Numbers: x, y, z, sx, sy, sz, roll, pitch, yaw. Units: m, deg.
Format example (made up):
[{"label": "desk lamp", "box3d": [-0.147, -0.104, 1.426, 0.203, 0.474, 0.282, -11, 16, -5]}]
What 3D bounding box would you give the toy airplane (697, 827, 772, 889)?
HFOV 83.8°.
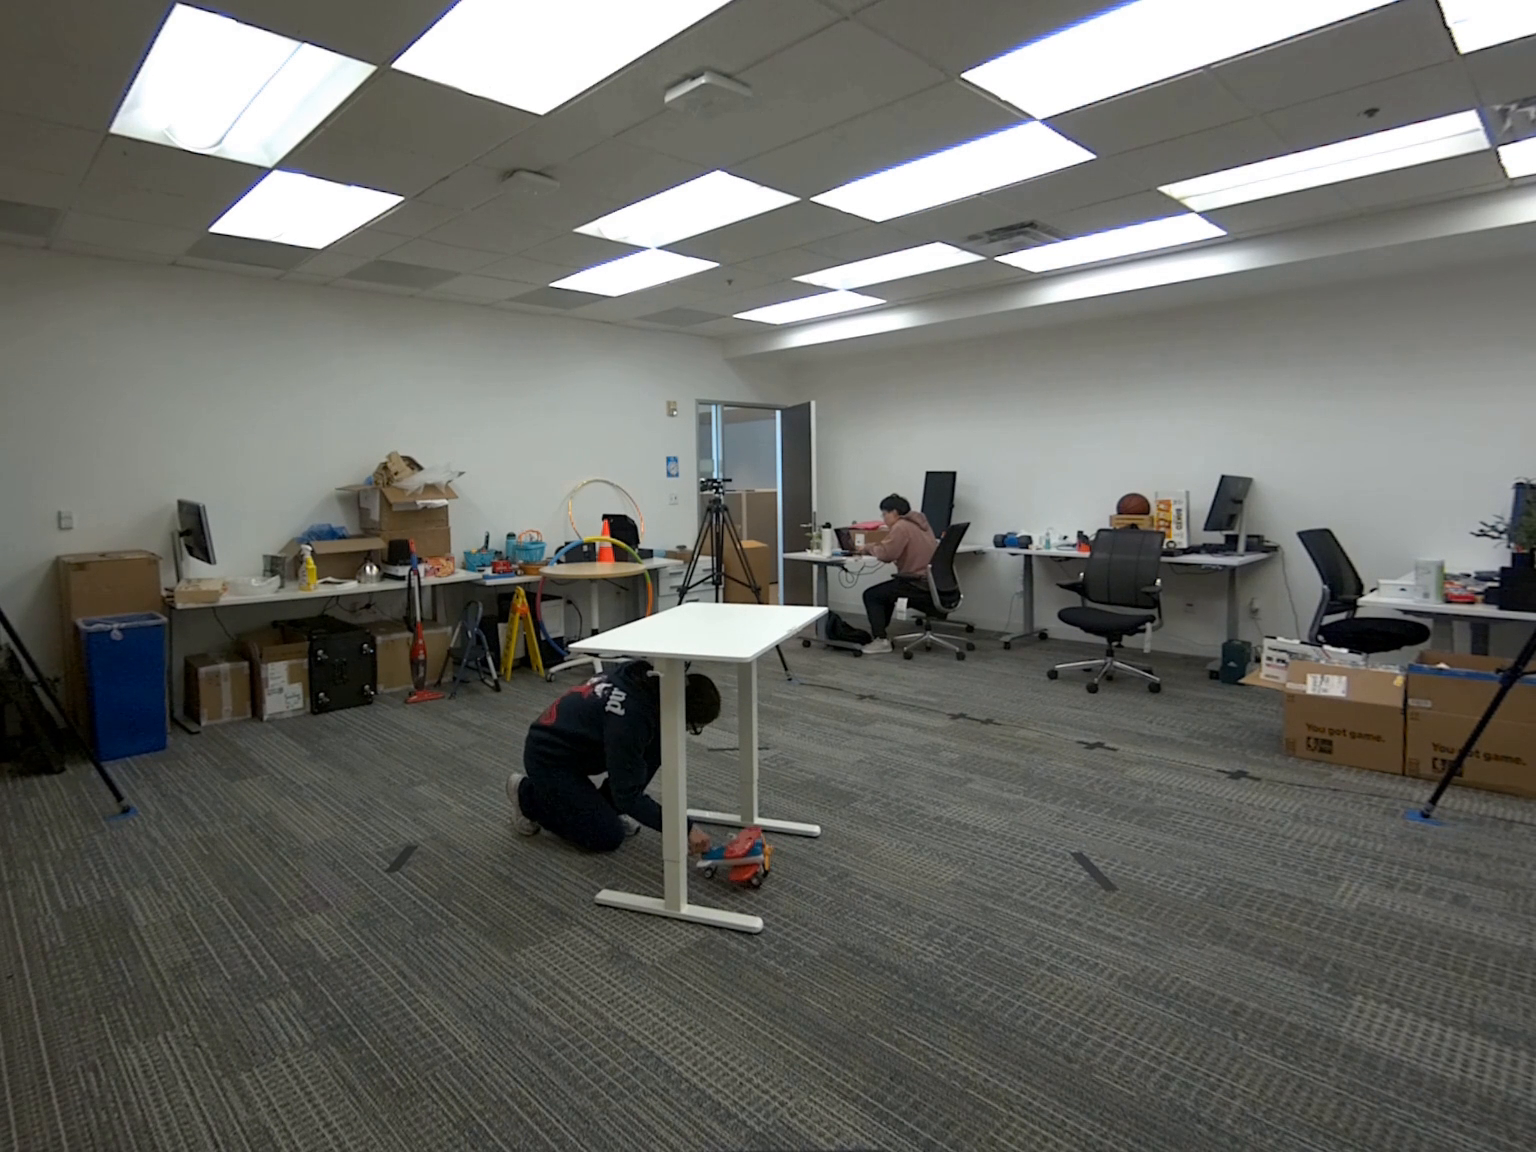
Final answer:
[{"label": "toy airplane", "box3d": [-0.115, 0.988, 2.949, 0.257, 0.156, 0.254, -2, 4, -11]}]
